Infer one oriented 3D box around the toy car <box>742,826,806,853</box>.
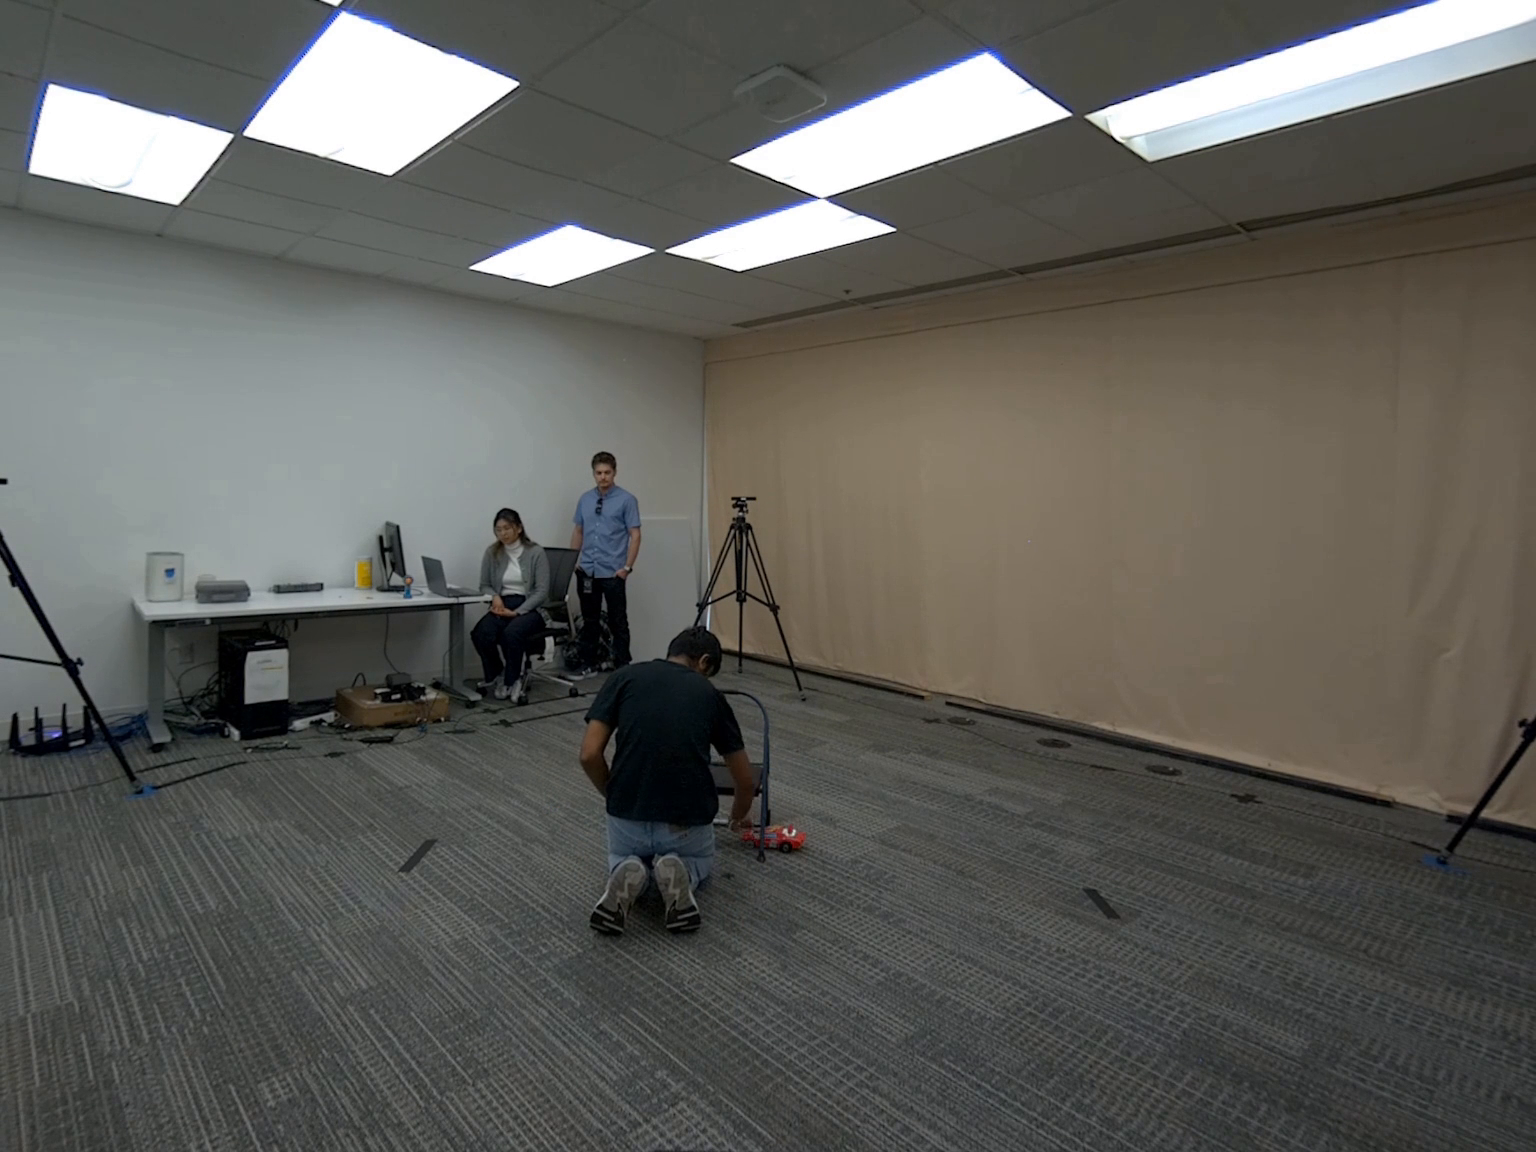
[{"bbox_3d":[0.018,1.057,3.377,0.256,0.083,0.130,-10,4,9],"label":"toy car"}]
